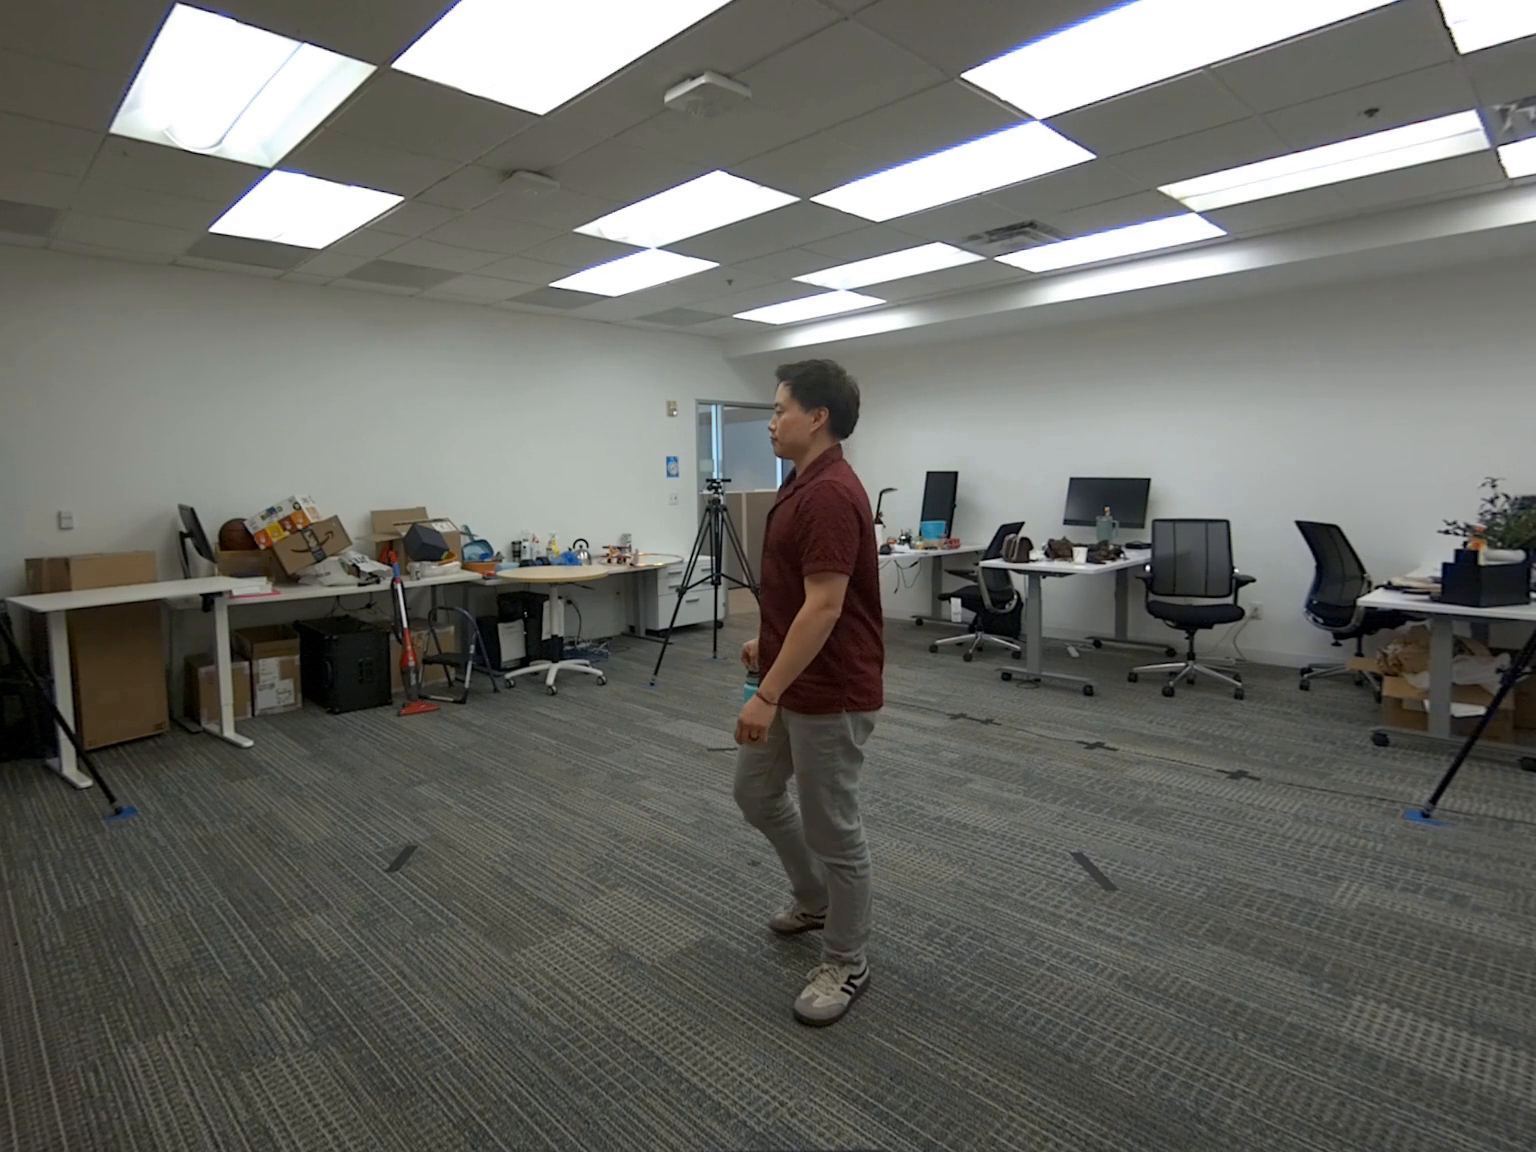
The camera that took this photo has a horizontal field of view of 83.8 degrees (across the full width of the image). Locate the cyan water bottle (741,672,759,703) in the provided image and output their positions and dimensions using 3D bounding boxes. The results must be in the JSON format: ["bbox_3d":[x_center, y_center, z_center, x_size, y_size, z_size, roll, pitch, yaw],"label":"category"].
[{"bbox_3d":[-0.027,0.431,2.677,0.092,0.283,0.092,4,0,-2],"label":"cyan water bottle"}]
